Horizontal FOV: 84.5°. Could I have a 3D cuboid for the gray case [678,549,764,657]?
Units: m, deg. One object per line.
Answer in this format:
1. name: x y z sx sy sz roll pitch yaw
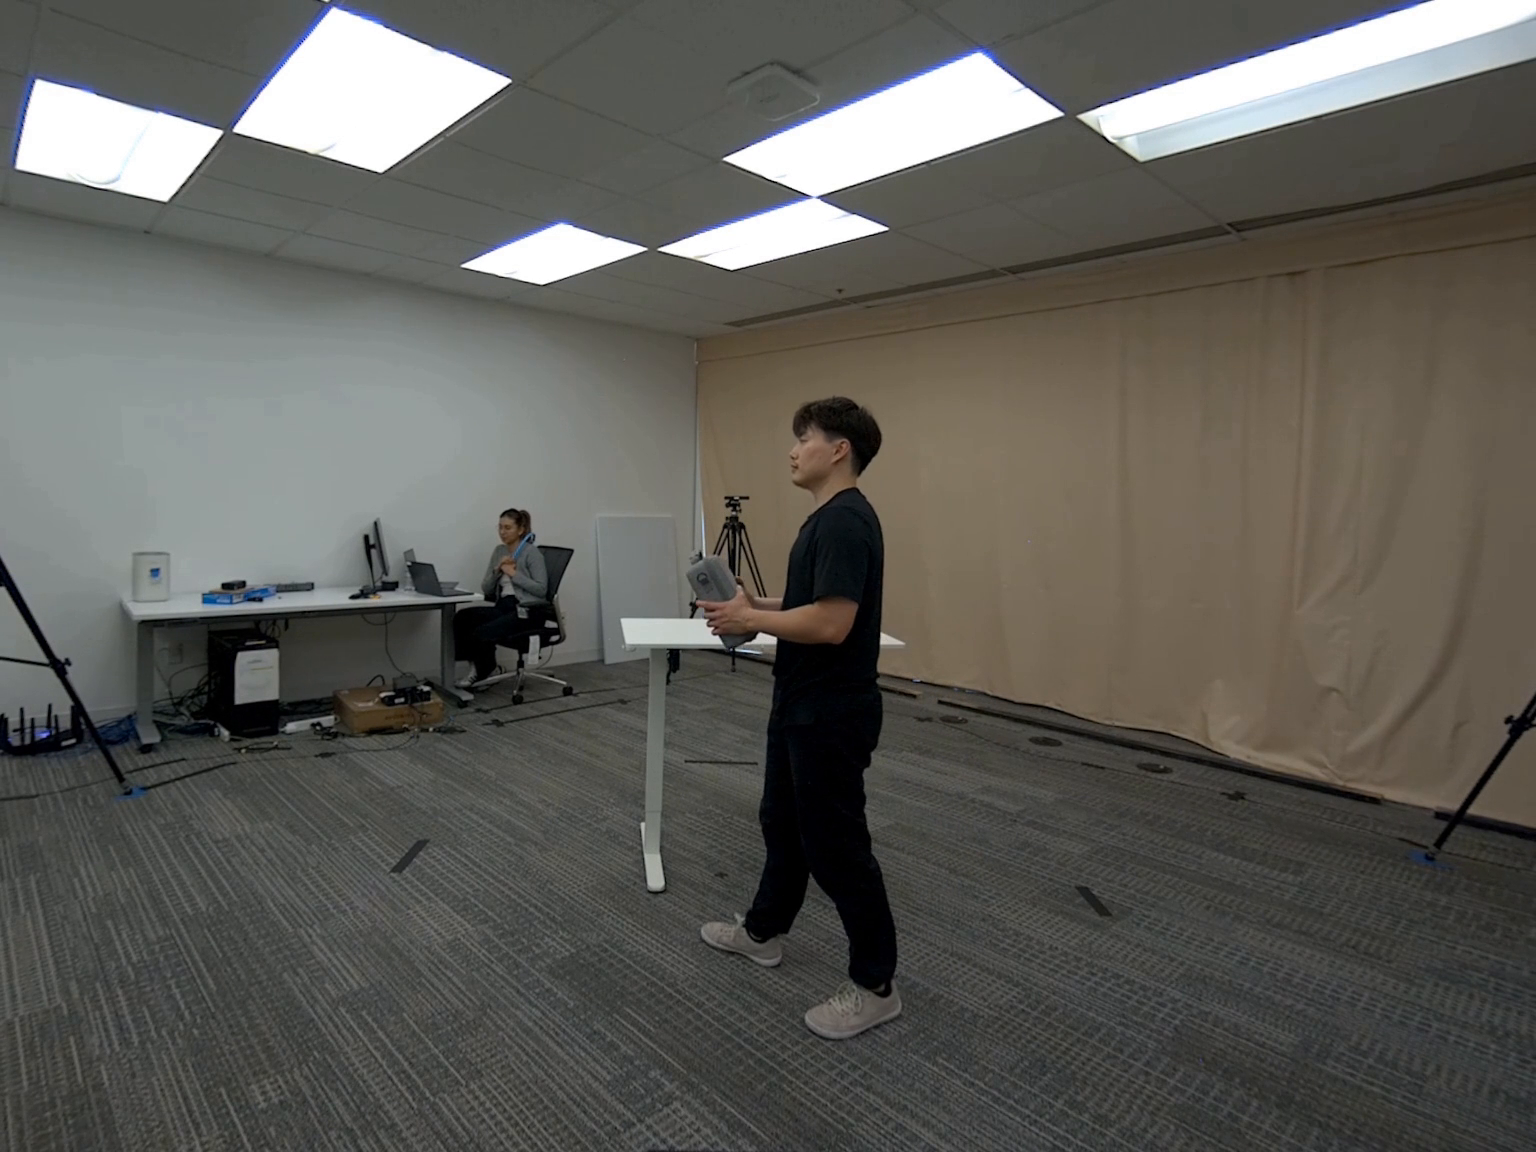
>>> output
1. gray case: -0.121 0.068 2.335 0.104 0.262 0.255 -29 -3 3
